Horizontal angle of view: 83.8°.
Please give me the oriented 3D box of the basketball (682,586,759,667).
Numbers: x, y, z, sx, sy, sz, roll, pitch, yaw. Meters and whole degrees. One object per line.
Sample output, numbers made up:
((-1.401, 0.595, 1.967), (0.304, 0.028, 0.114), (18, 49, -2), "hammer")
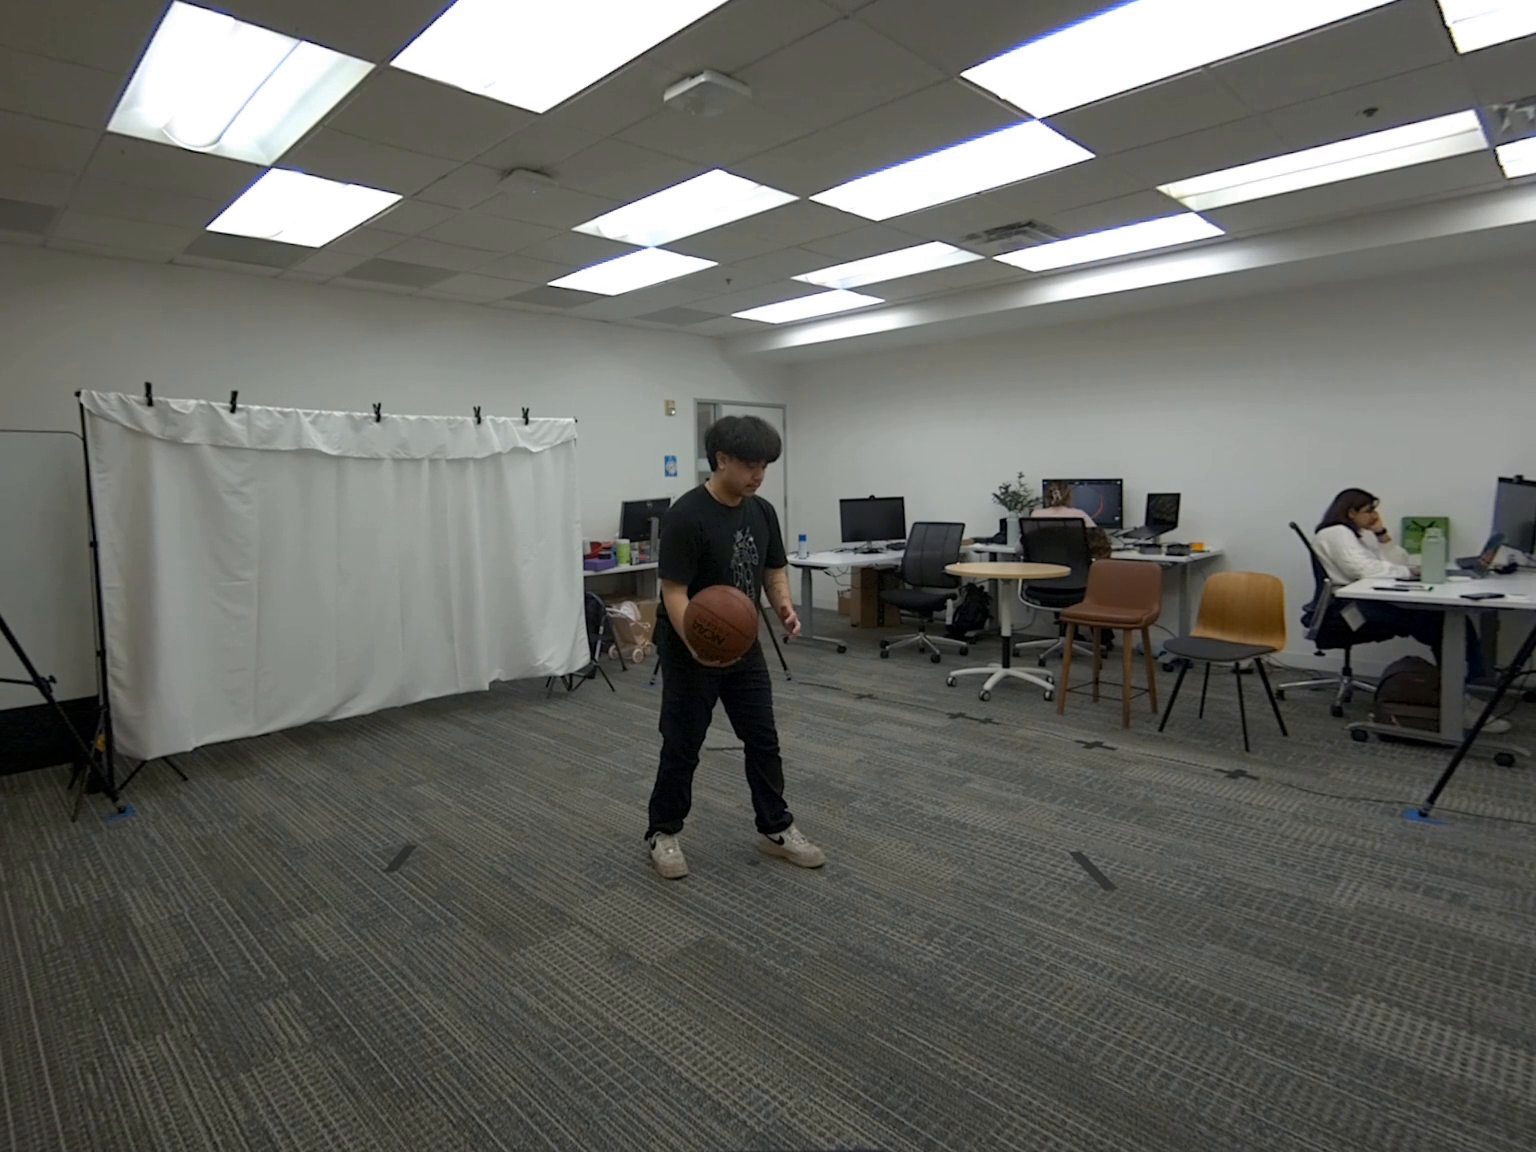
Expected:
((-0.149, 0.146, 2.694), (0.236, 0.235, 0.237), (-1, 5, -2), "basketball")
